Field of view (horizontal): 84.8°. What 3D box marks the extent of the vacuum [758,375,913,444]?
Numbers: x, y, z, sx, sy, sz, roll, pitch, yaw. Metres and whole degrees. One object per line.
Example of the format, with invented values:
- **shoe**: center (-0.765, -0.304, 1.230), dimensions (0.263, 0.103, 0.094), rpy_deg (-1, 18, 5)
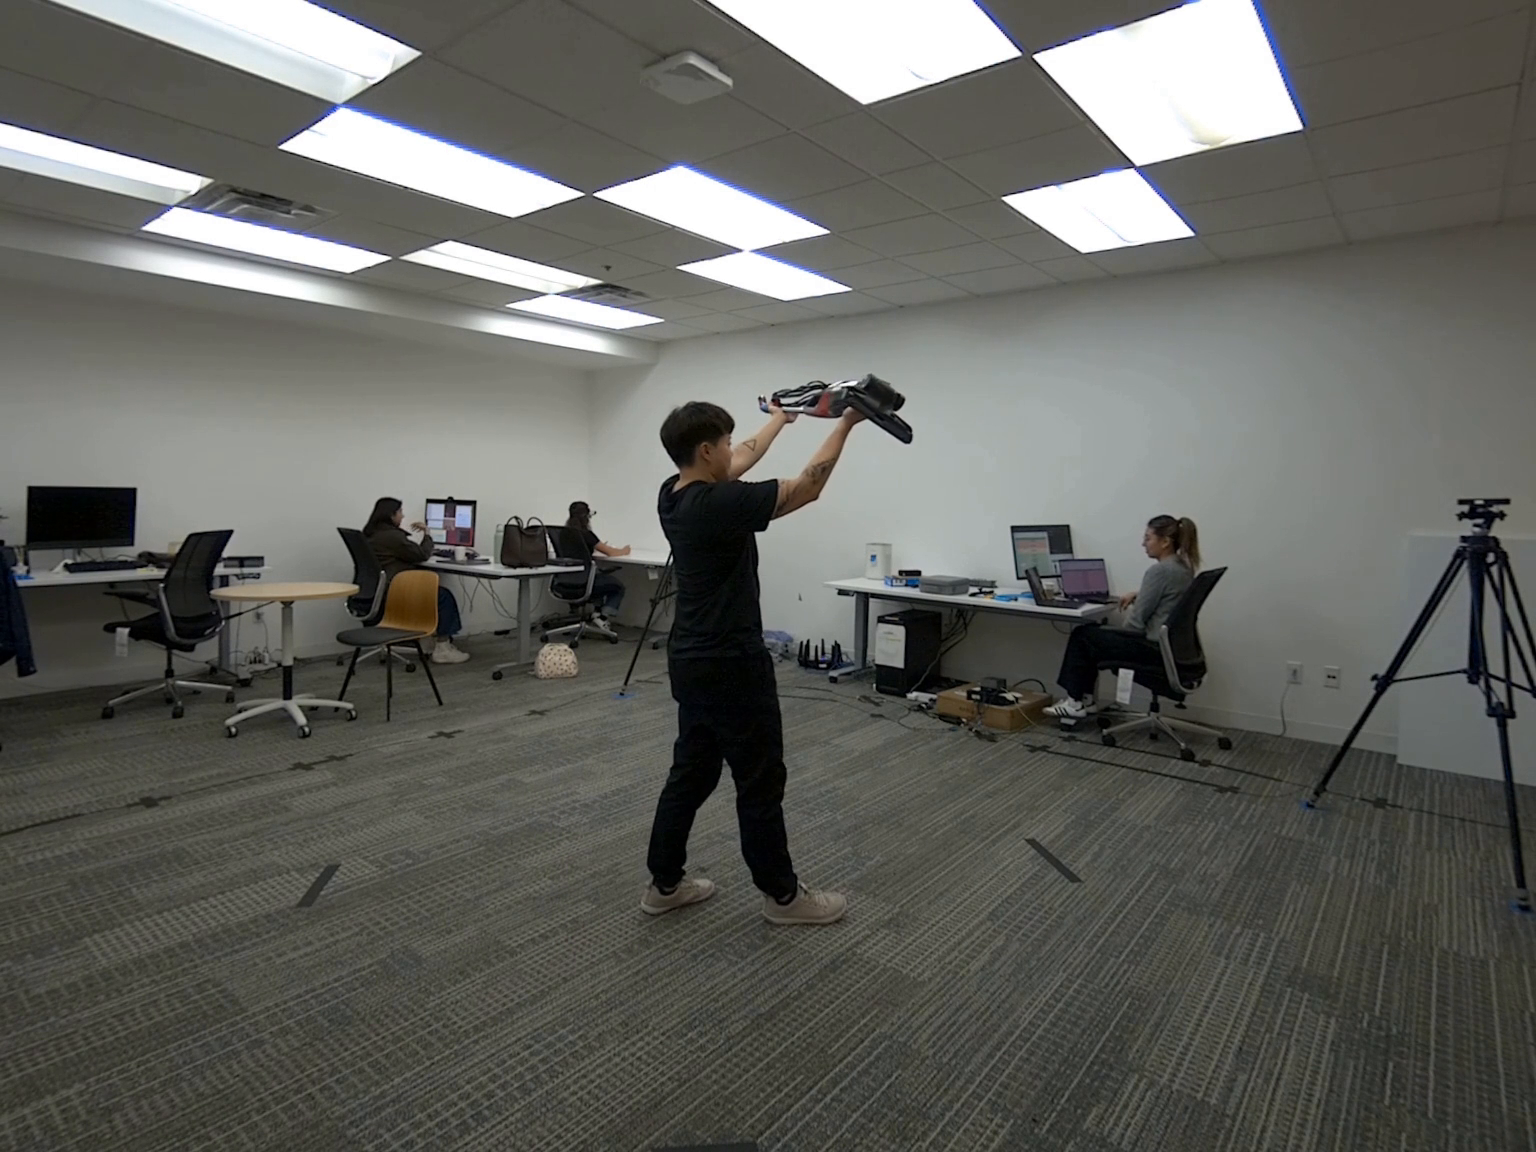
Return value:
- **vacuum**: center (0.151, -0.615, 2.943), dimensions (0.246, 0.144, 1.079), rpy_deg (29, 3, -23)
